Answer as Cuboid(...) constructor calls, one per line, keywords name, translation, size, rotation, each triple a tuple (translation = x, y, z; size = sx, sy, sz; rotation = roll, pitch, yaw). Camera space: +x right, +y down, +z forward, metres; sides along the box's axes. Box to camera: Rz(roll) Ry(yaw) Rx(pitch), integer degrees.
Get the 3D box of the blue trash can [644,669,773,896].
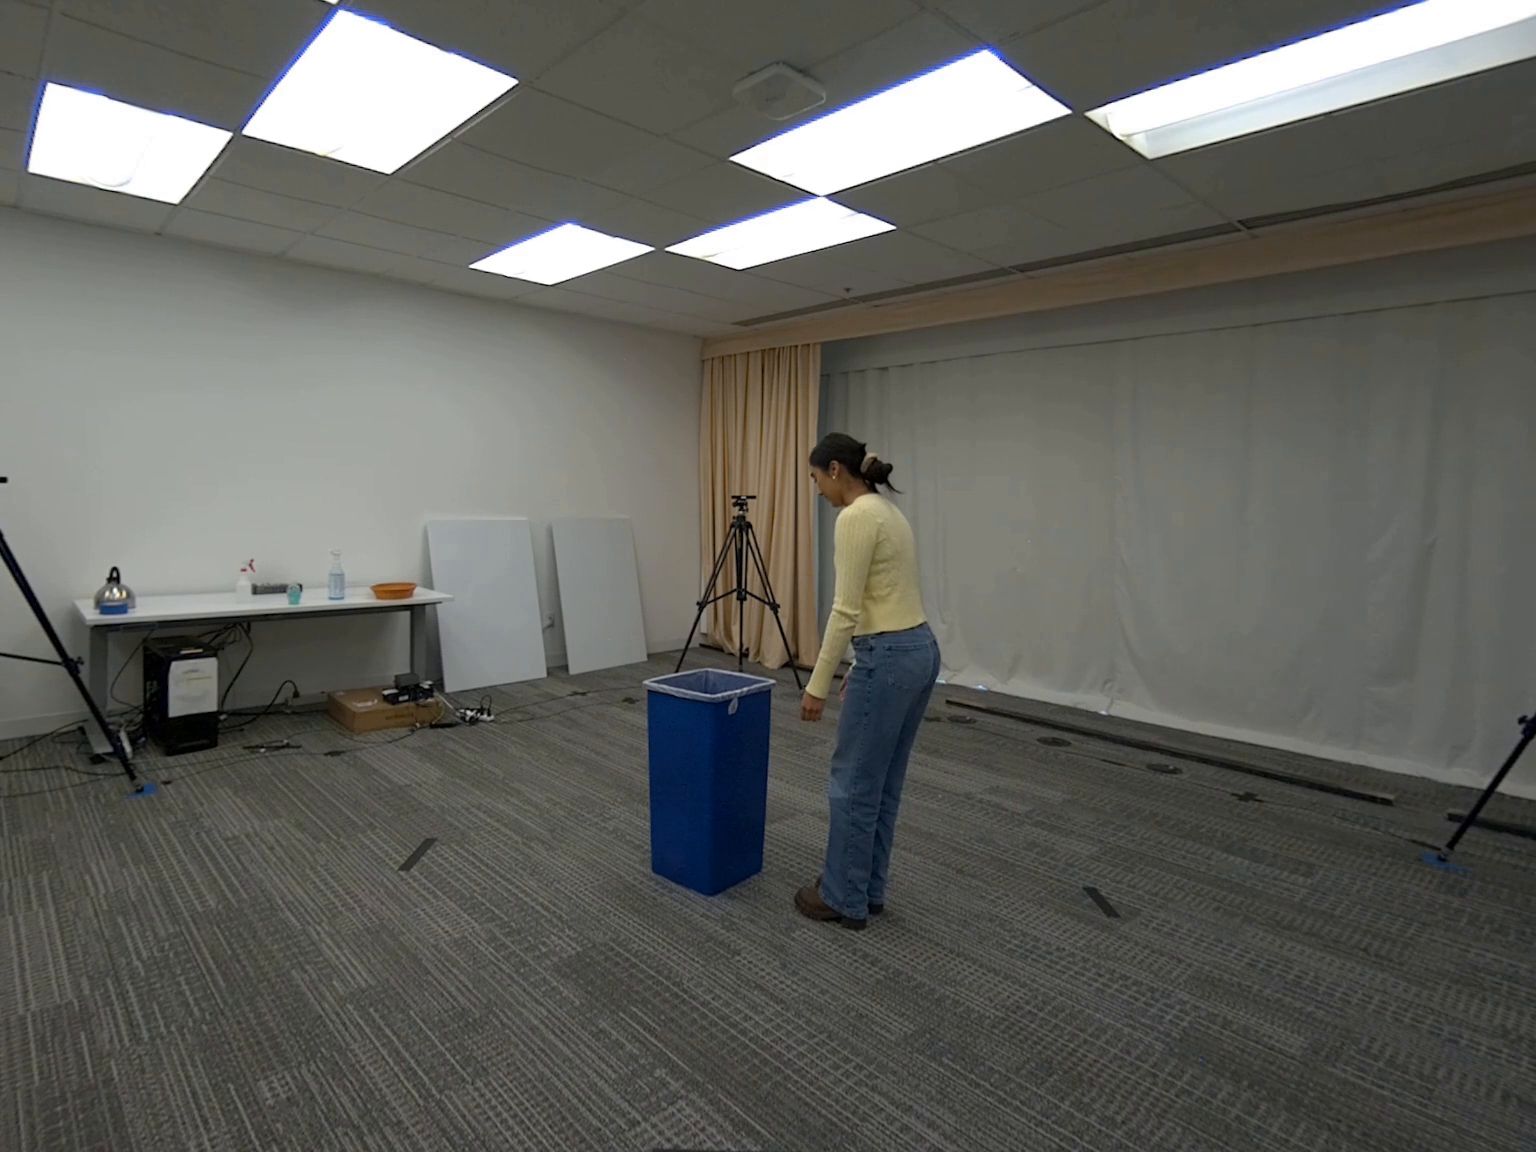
Cuboid(name="blue trash can", translation=(-0.231, 0.741, 3.114), size=(0.383, 0.712, 0.369), rotation=(4, 4, 39))
